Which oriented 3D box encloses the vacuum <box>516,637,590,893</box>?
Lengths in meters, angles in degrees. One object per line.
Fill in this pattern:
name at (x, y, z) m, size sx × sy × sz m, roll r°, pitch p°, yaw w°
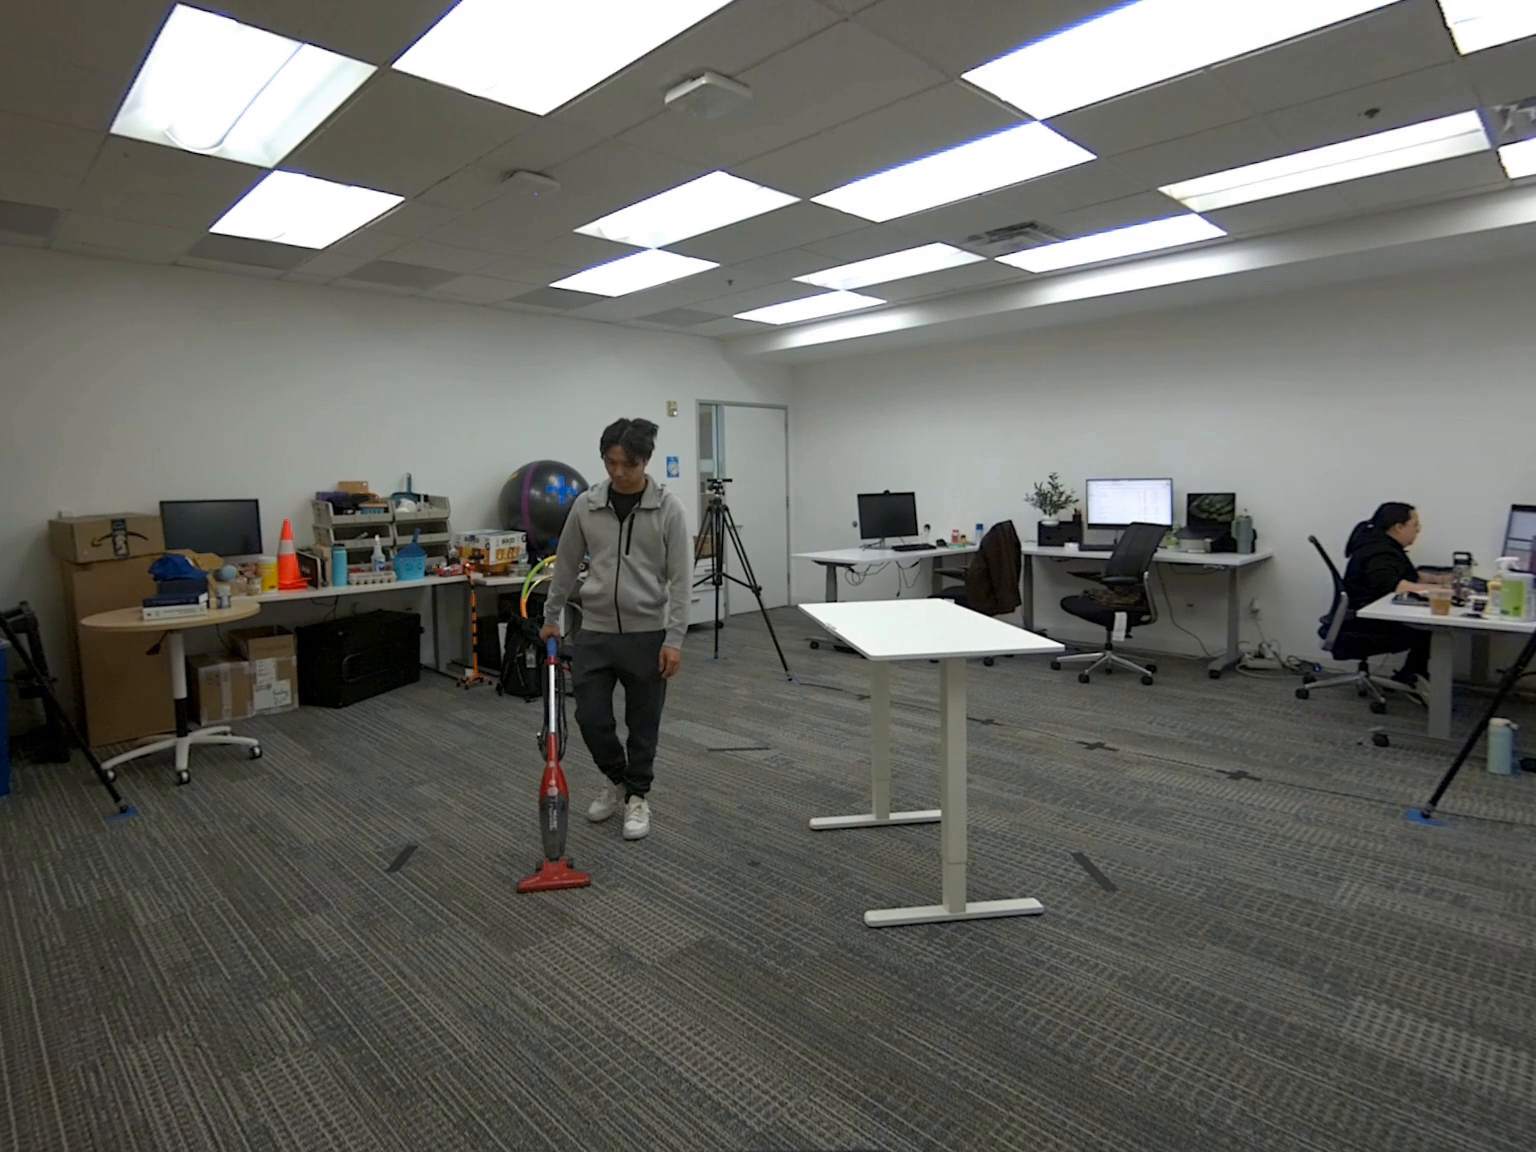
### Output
vacuum at (-0.831, 0.642, 3.303) m, size 0.251 × 1.082 × 0.140 m, roll -7°, pitch -37°, yaw -8°
